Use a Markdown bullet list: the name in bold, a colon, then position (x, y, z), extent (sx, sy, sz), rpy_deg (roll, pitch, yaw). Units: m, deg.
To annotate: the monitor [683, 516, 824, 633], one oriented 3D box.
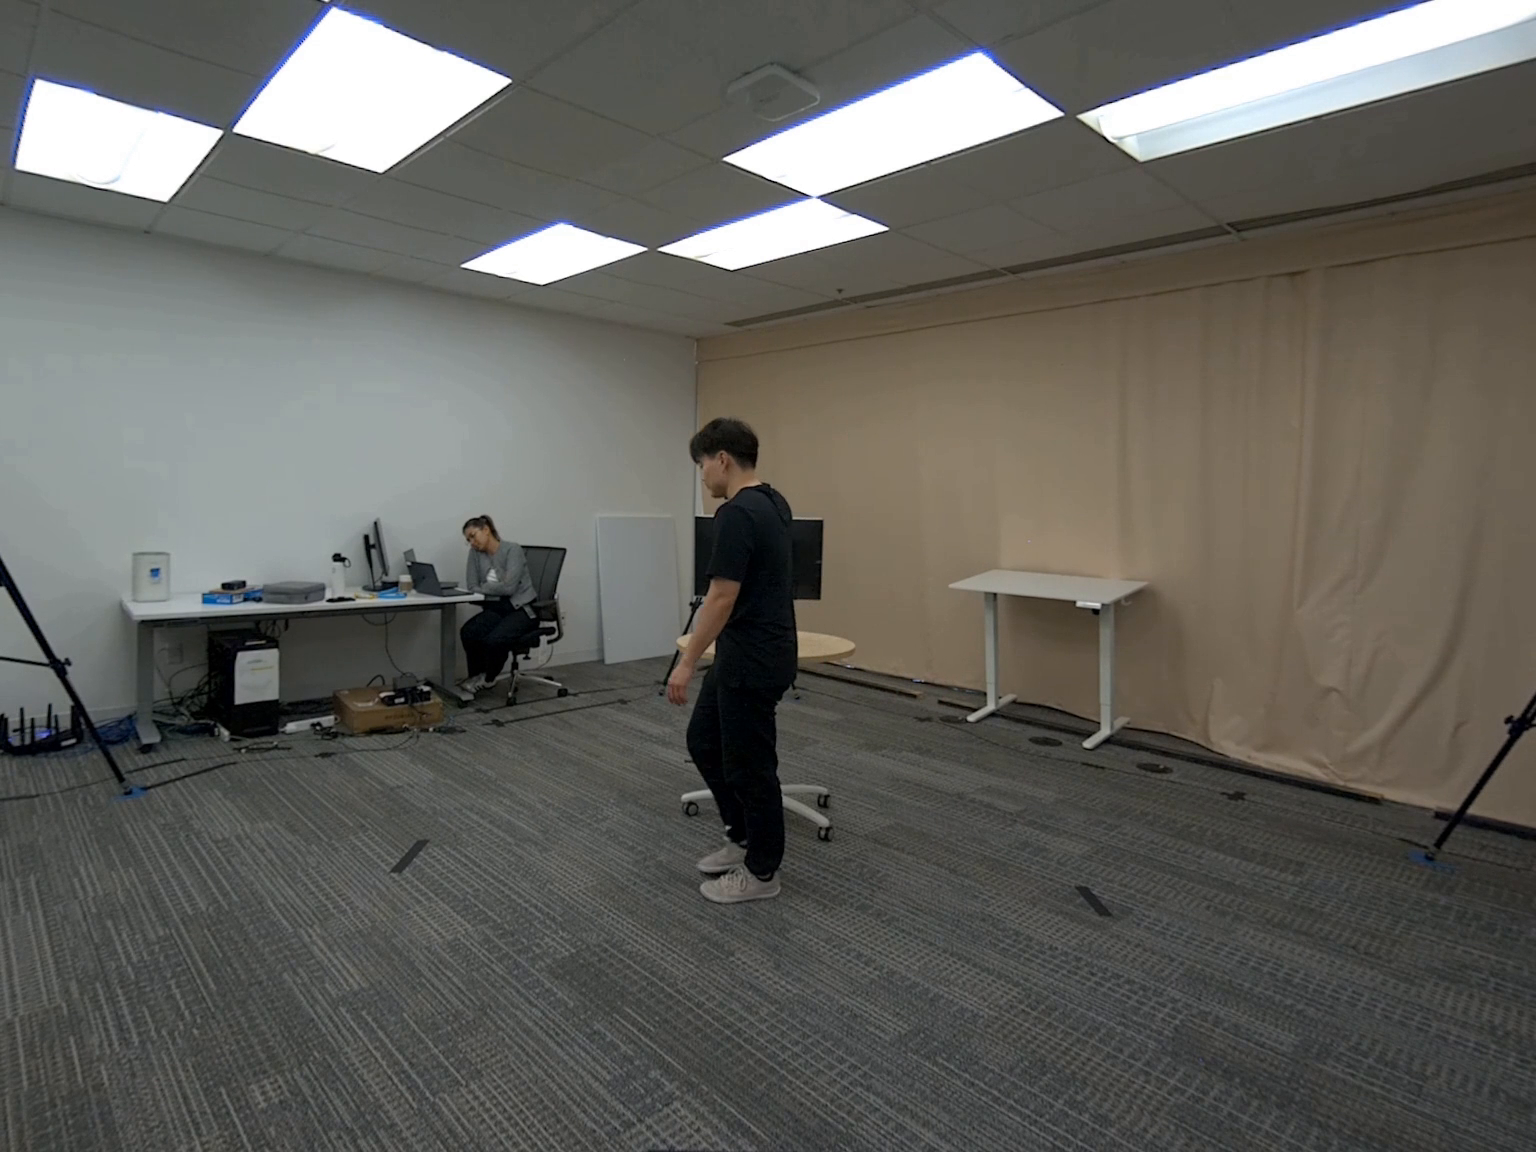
- **monitor**: position (-0.043, 0.022, 3.605), extent (0.541, 0.522, 0.186), rpy_deg (3, 1, 4)
